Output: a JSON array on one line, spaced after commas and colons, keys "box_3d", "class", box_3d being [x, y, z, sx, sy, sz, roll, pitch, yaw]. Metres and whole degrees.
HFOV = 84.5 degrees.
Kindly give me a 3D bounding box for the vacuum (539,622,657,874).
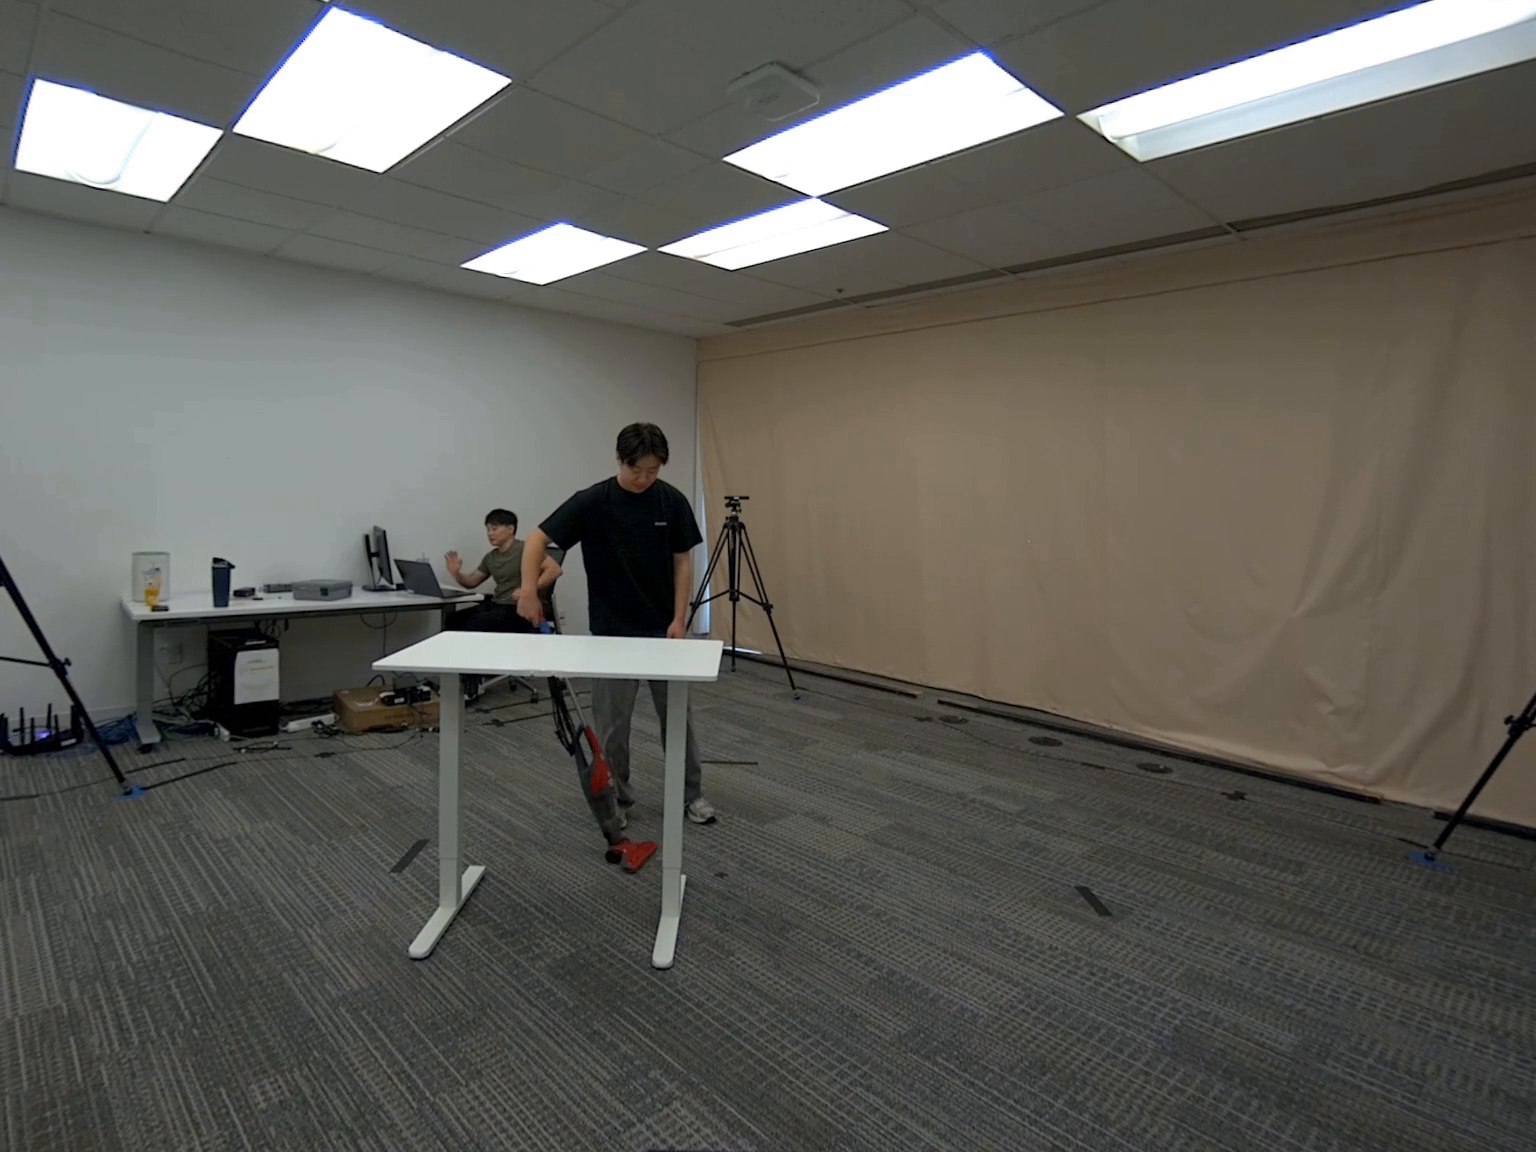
[{"box_3d": [-0.750, 0.610, 3.280, 0.145, 1.055, 0.249, -28, -6, 23], "class": "vacuum"}]
